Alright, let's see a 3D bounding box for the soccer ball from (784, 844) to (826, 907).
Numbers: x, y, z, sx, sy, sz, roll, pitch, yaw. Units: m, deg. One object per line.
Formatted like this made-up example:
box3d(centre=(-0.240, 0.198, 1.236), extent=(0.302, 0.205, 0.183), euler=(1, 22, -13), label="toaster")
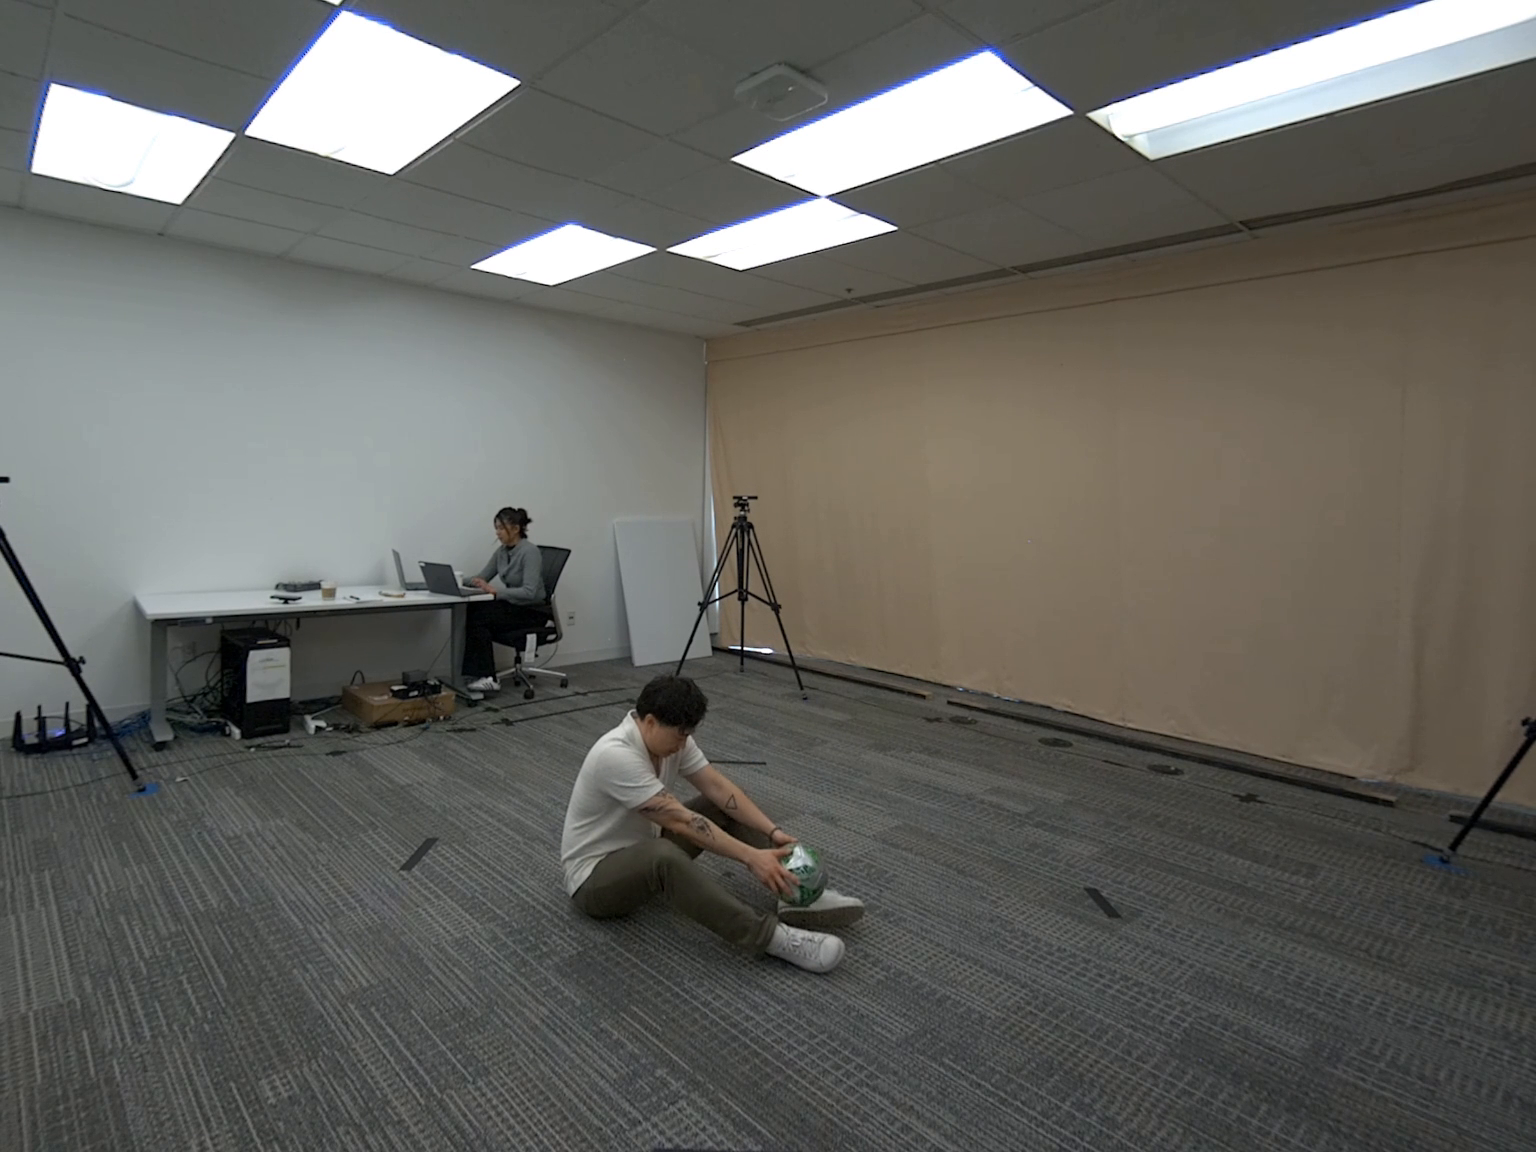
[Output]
box3d(centre=(0.081, 0.933, 2.639), extent=(0.187, 0.187, 0.188), euler=(1, 4, -1), label="soccer ball")
